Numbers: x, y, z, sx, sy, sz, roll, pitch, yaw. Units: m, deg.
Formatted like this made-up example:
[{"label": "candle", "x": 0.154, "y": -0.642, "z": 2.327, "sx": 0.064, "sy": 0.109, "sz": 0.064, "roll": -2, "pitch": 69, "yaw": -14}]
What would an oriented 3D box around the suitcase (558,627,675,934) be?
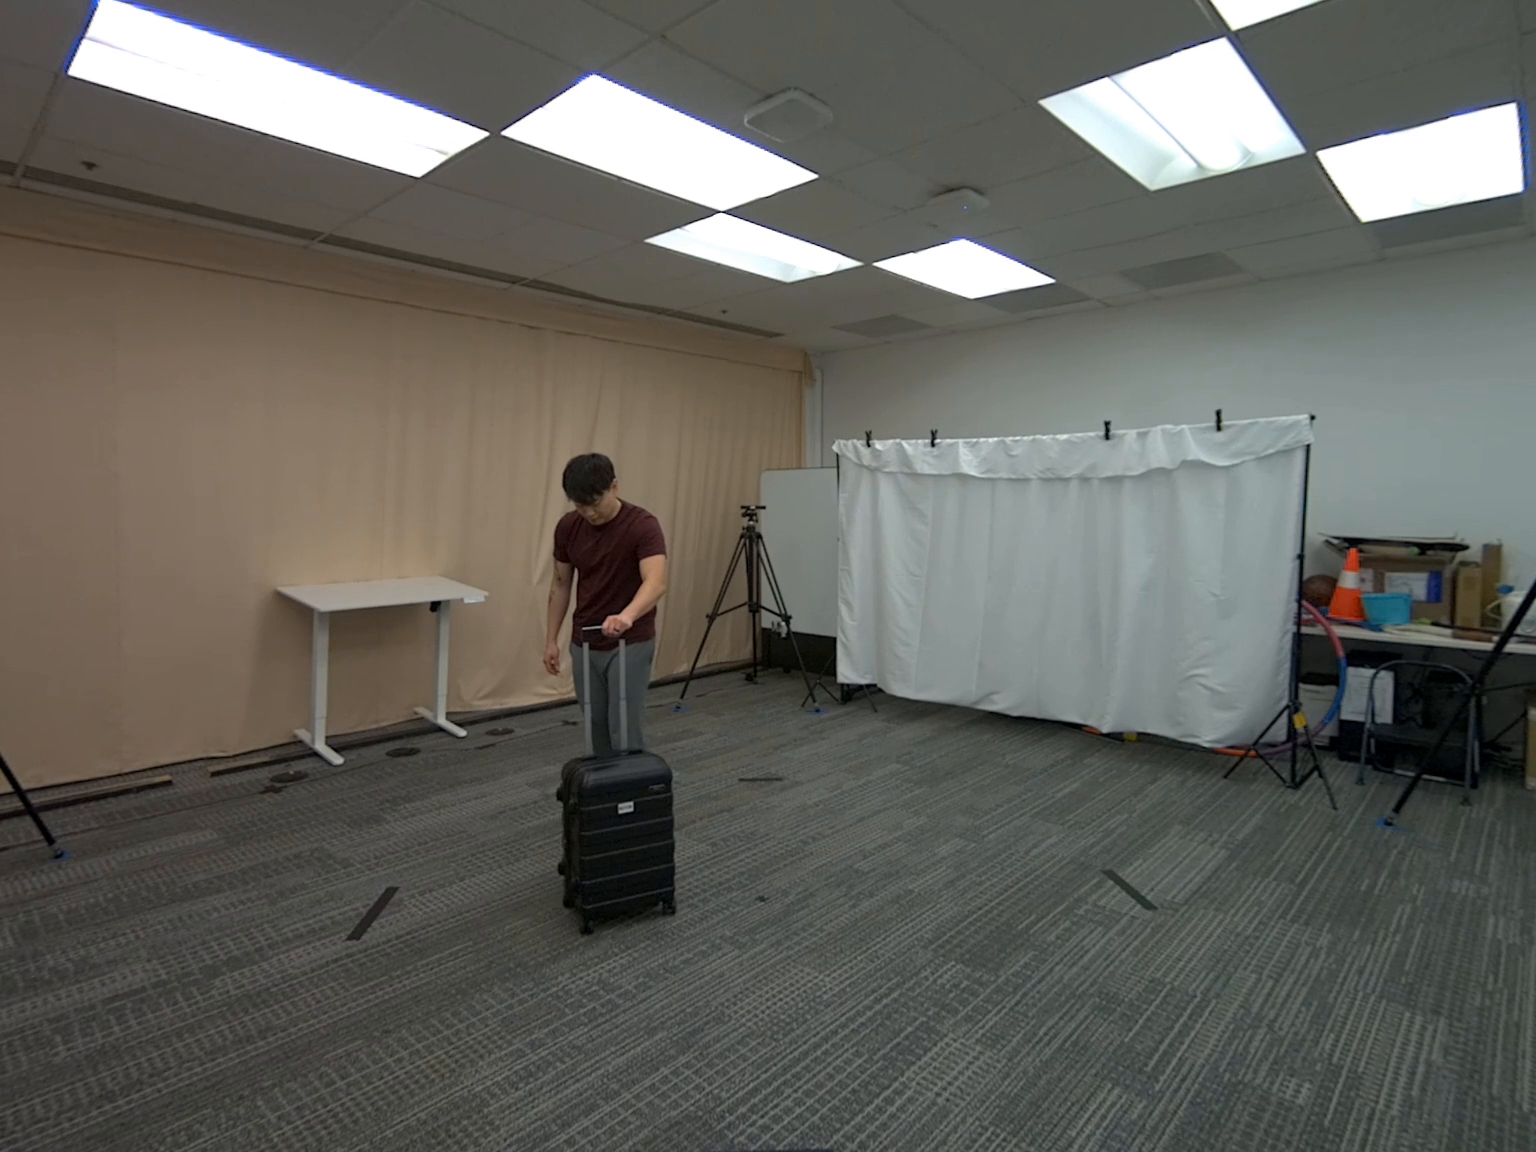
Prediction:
[{"label": "suitcase", "x": -0.514, "y": 0.685, "z": 2.857, "sx": 0.376, "sy": 0.975, "sz": 0.264, "roll": -3, "pitch": 6, "yaw": -23}]
